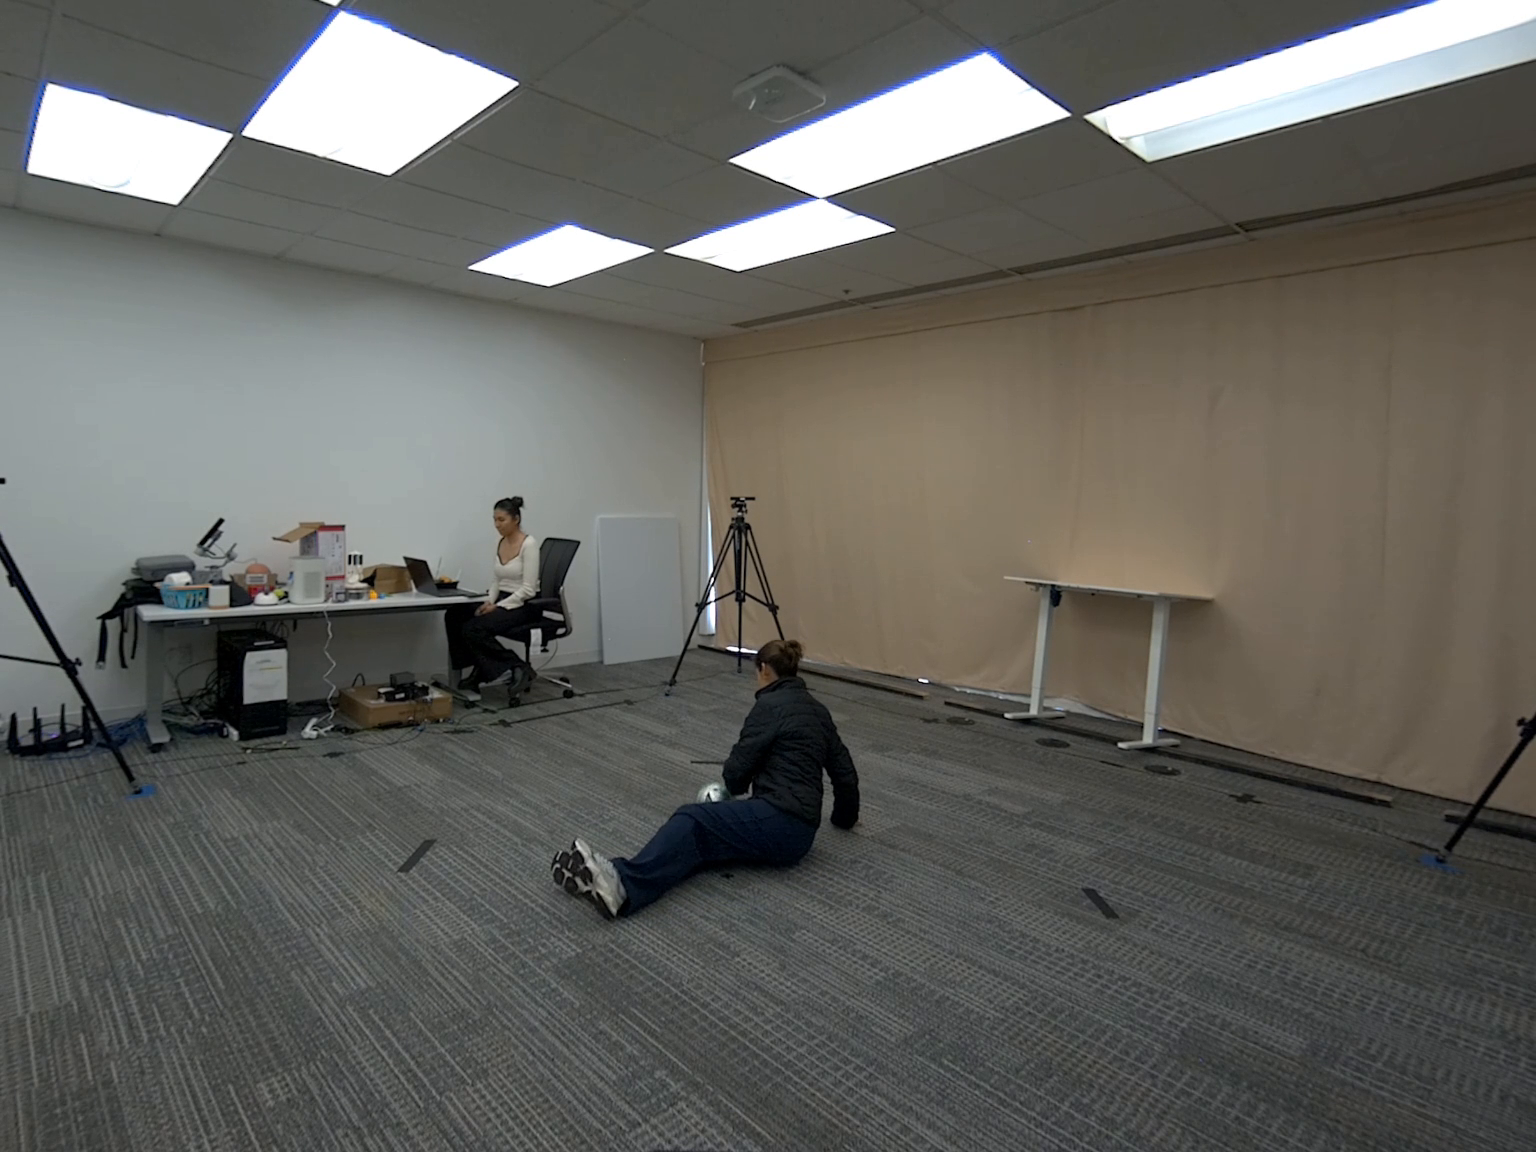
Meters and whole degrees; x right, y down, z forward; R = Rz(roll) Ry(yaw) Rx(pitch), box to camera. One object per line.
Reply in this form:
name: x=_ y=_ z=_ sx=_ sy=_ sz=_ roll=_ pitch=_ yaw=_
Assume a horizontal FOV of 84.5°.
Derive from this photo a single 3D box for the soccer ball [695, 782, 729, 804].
soccer ball: x=-0.220 y=0.965 z=3.564 sx=0.187 sy=0.187 sz=0.188 roll=1 pitch=4 yaw=-1
